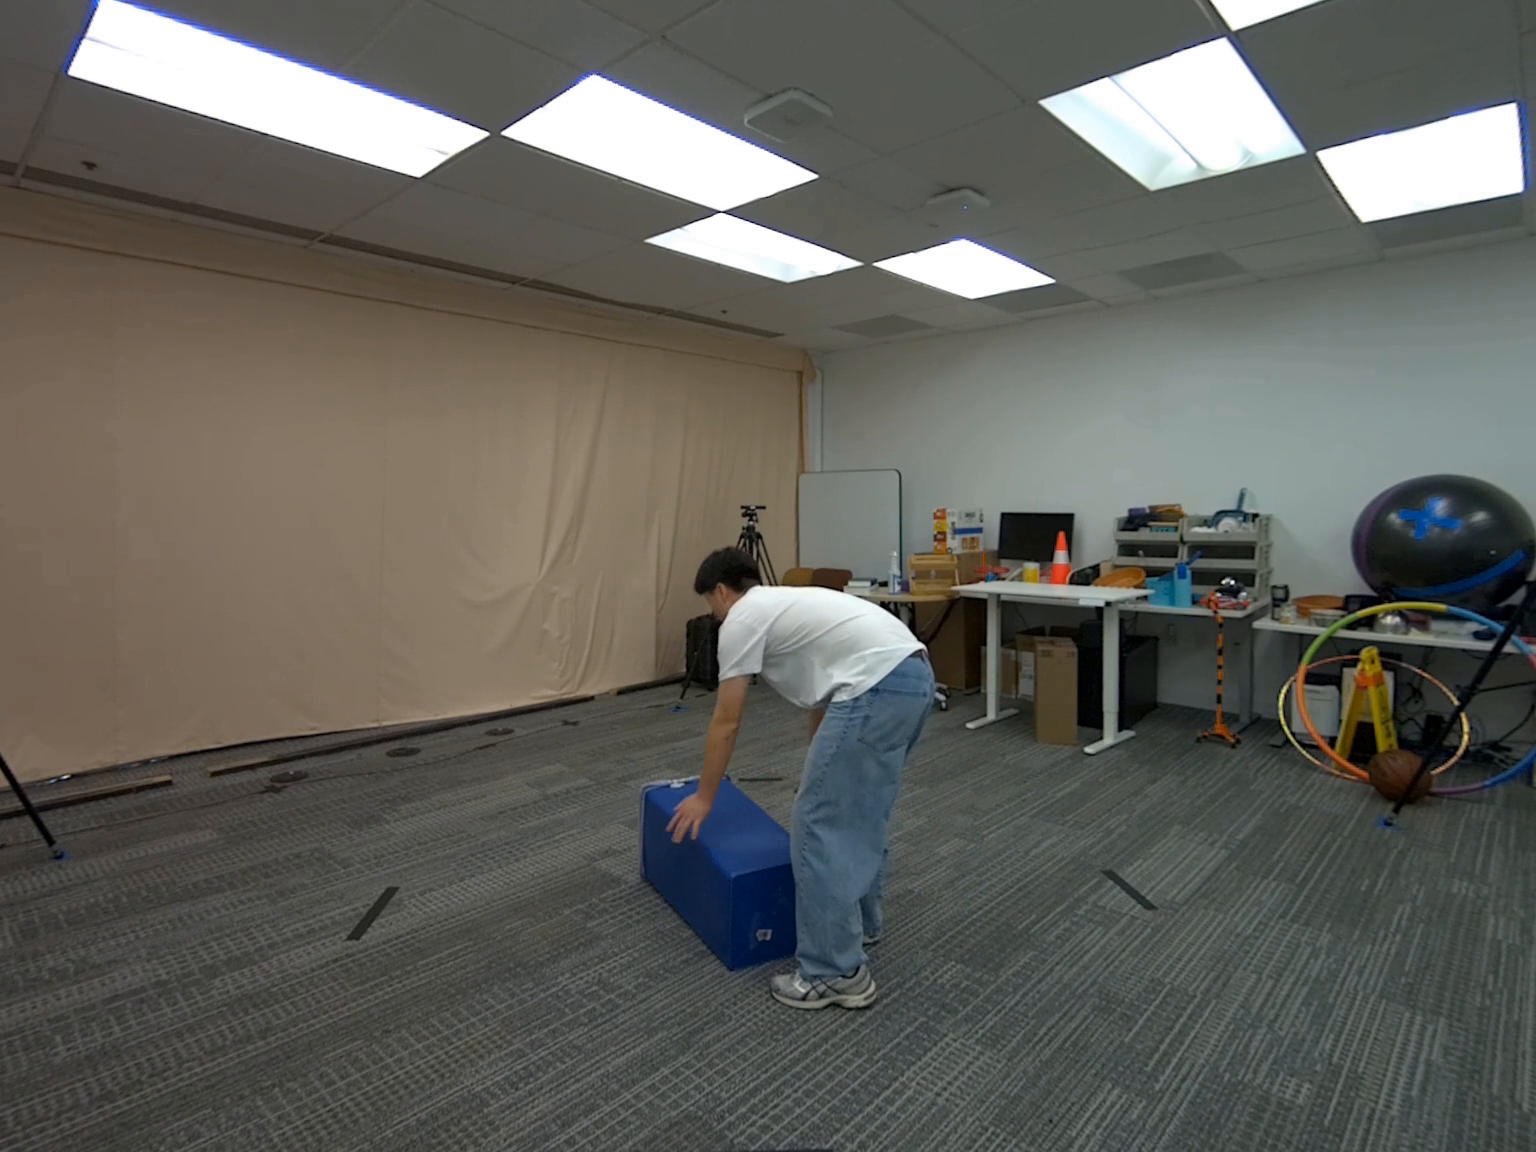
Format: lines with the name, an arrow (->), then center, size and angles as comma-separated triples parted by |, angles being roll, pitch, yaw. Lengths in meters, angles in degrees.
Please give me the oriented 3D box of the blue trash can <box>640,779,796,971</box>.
blue trash can -> -0.155, 0.988, 2.880 | 0.369, 0.372, 0.734 | -2, 8, -27
